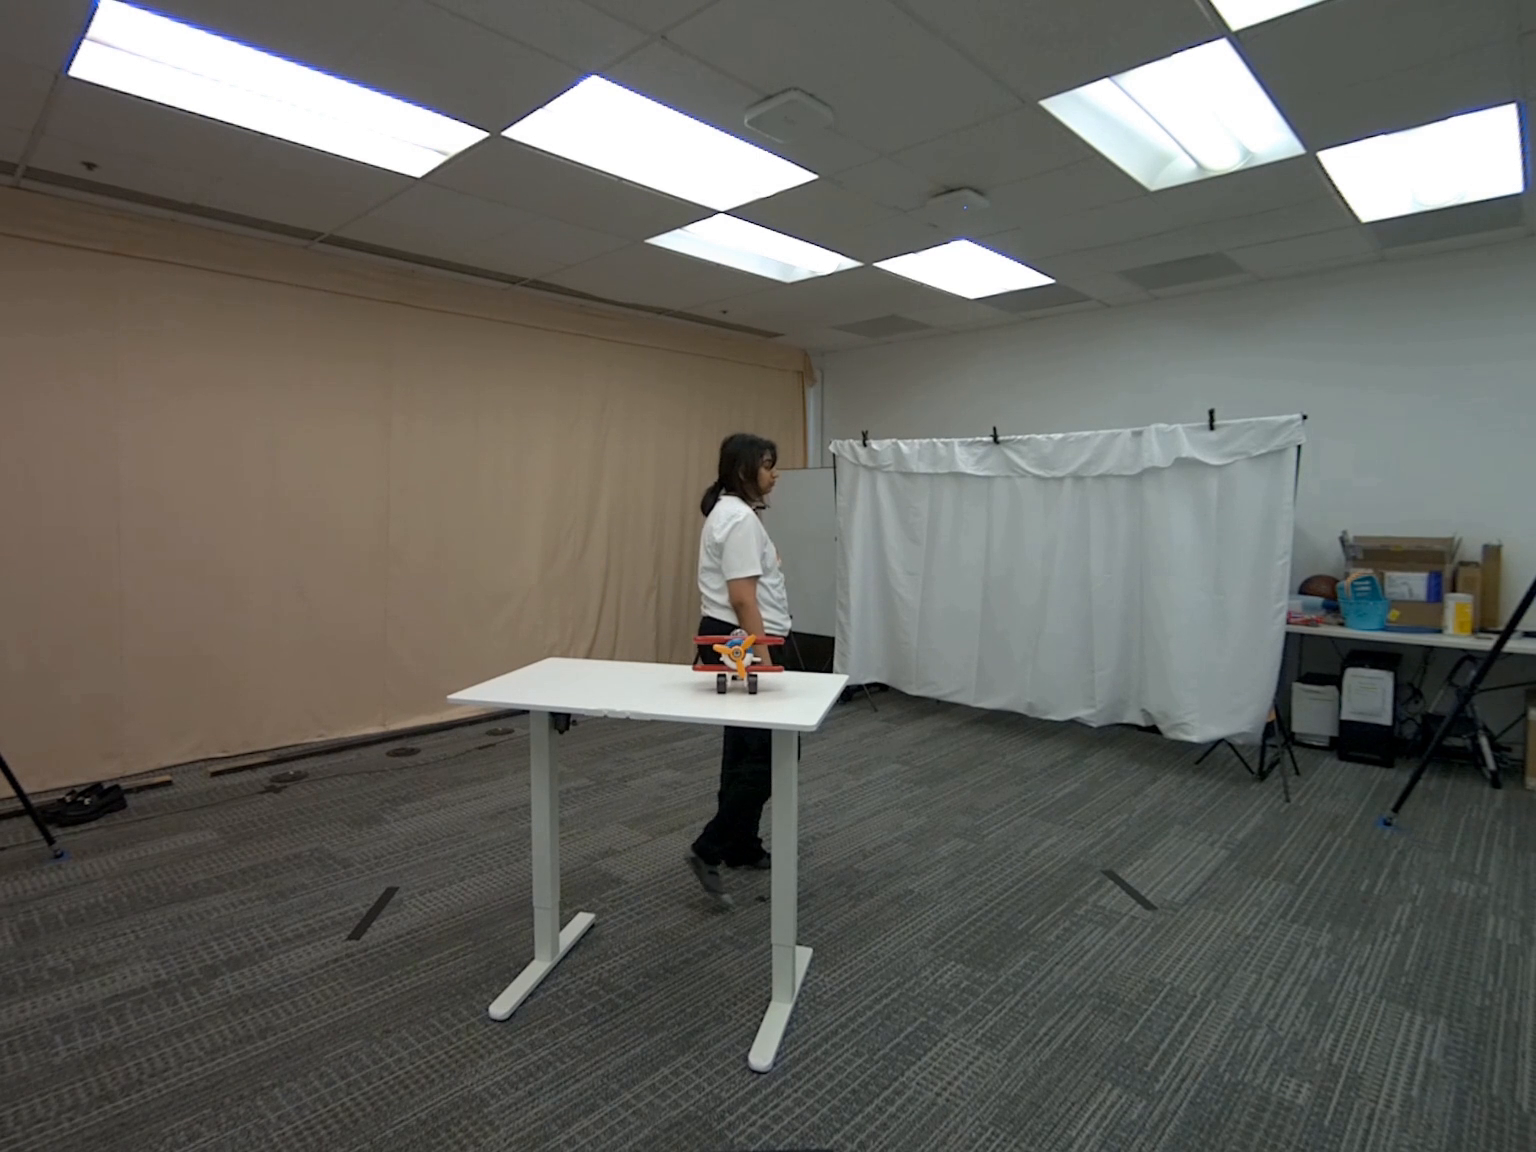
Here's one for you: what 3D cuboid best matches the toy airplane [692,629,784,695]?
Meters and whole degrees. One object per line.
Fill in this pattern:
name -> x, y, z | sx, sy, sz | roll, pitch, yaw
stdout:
toy airplane -> -0.101, 0.237, 2.392 | 0.245, 0.156, 0.266 | -3, 7, -24
